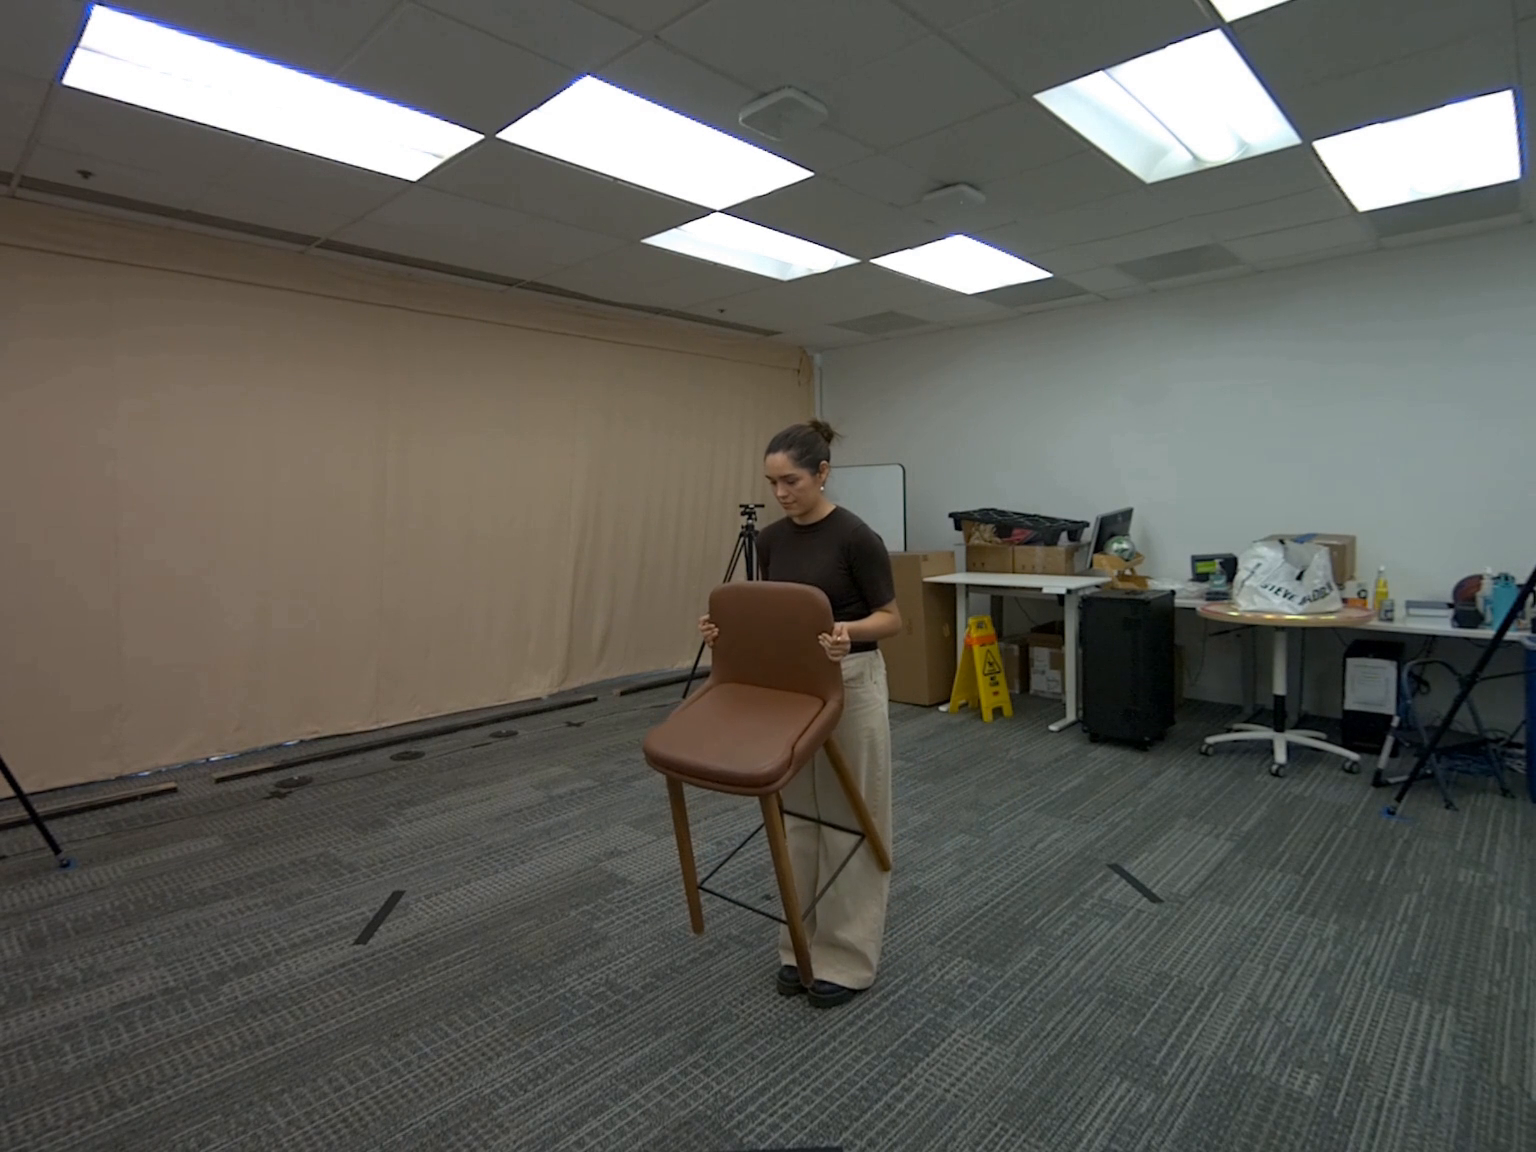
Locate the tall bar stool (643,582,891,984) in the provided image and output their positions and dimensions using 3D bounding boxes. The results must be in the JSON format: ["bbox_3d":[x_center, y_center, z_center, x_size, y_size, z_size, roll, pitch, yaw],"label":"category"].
[{"bbox_3d":[-0.020,0.519,2.223,0.472,0.877,0.459,3,23,42],"label":"tall bar stool"}]
